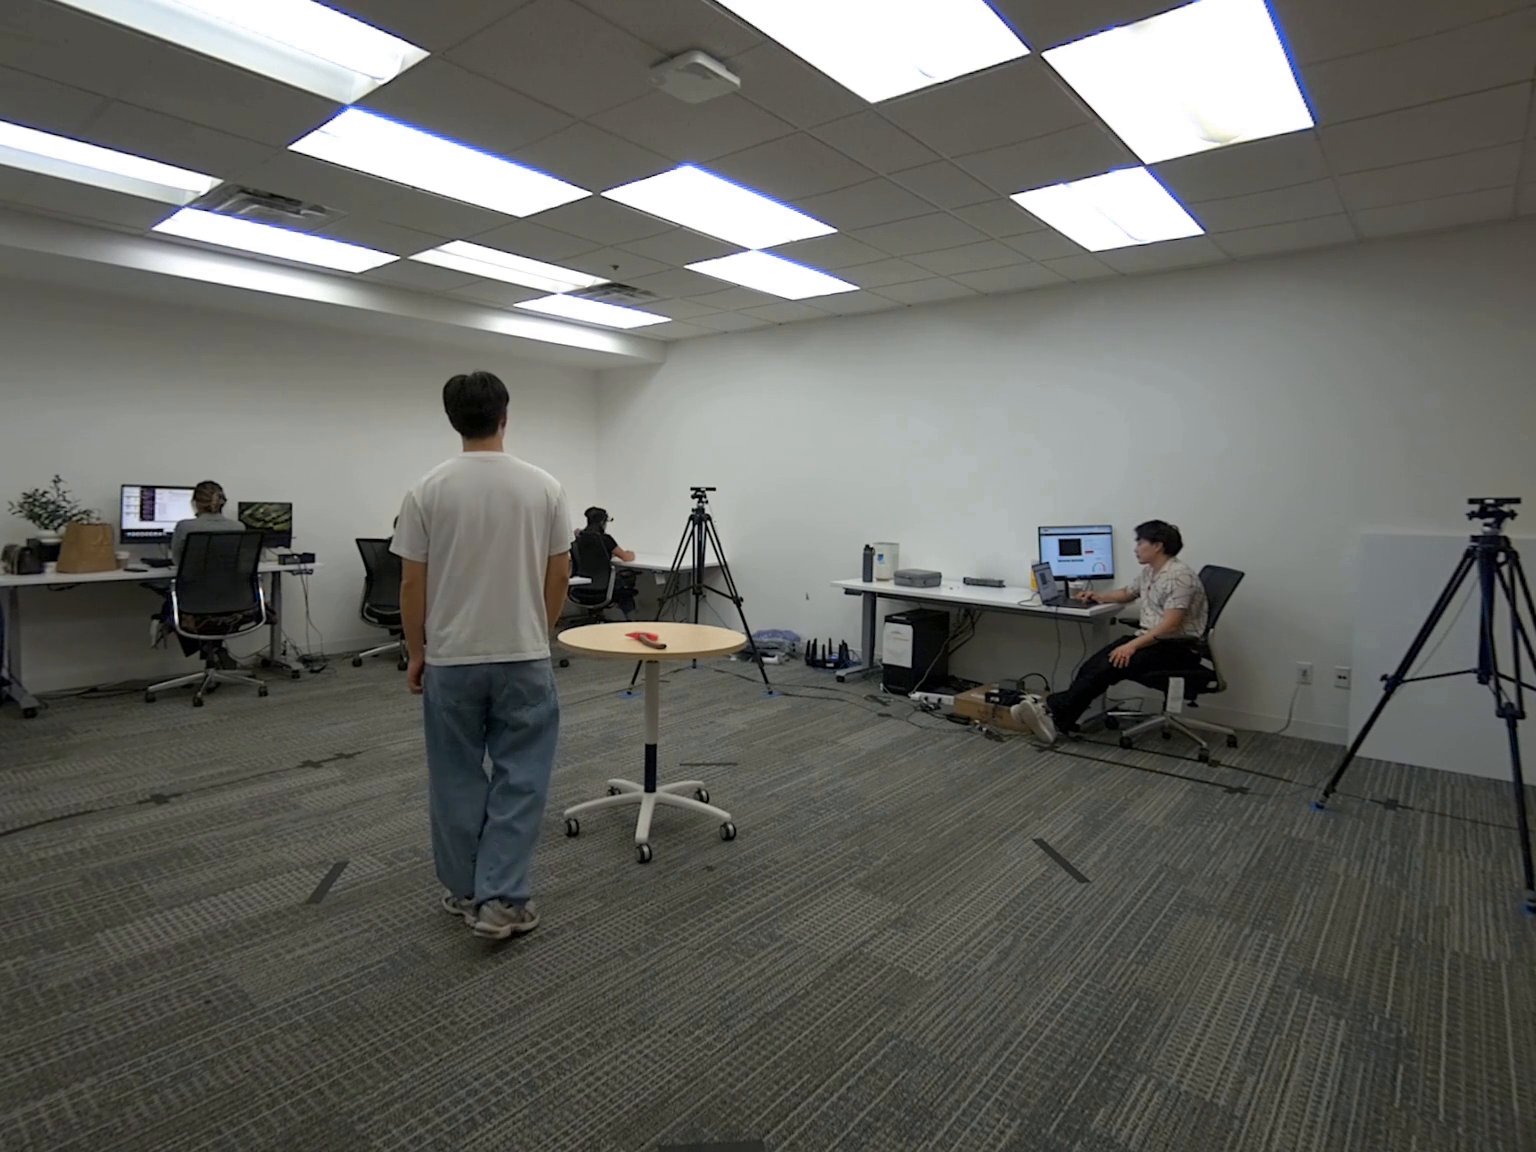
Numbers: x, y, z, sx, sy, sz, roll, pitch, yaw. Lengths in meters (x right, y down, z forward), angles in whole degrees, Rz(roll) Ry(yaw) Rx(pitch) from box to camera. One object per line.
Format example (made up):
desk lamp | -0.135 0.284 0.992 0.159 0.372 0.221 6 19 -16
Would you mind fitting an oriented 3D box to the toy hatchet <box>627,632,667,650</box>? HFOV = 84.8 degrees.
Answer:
toy hatchet | -0.455 0.249 3.303 0.127 0.029 0.279 2 5 -35
